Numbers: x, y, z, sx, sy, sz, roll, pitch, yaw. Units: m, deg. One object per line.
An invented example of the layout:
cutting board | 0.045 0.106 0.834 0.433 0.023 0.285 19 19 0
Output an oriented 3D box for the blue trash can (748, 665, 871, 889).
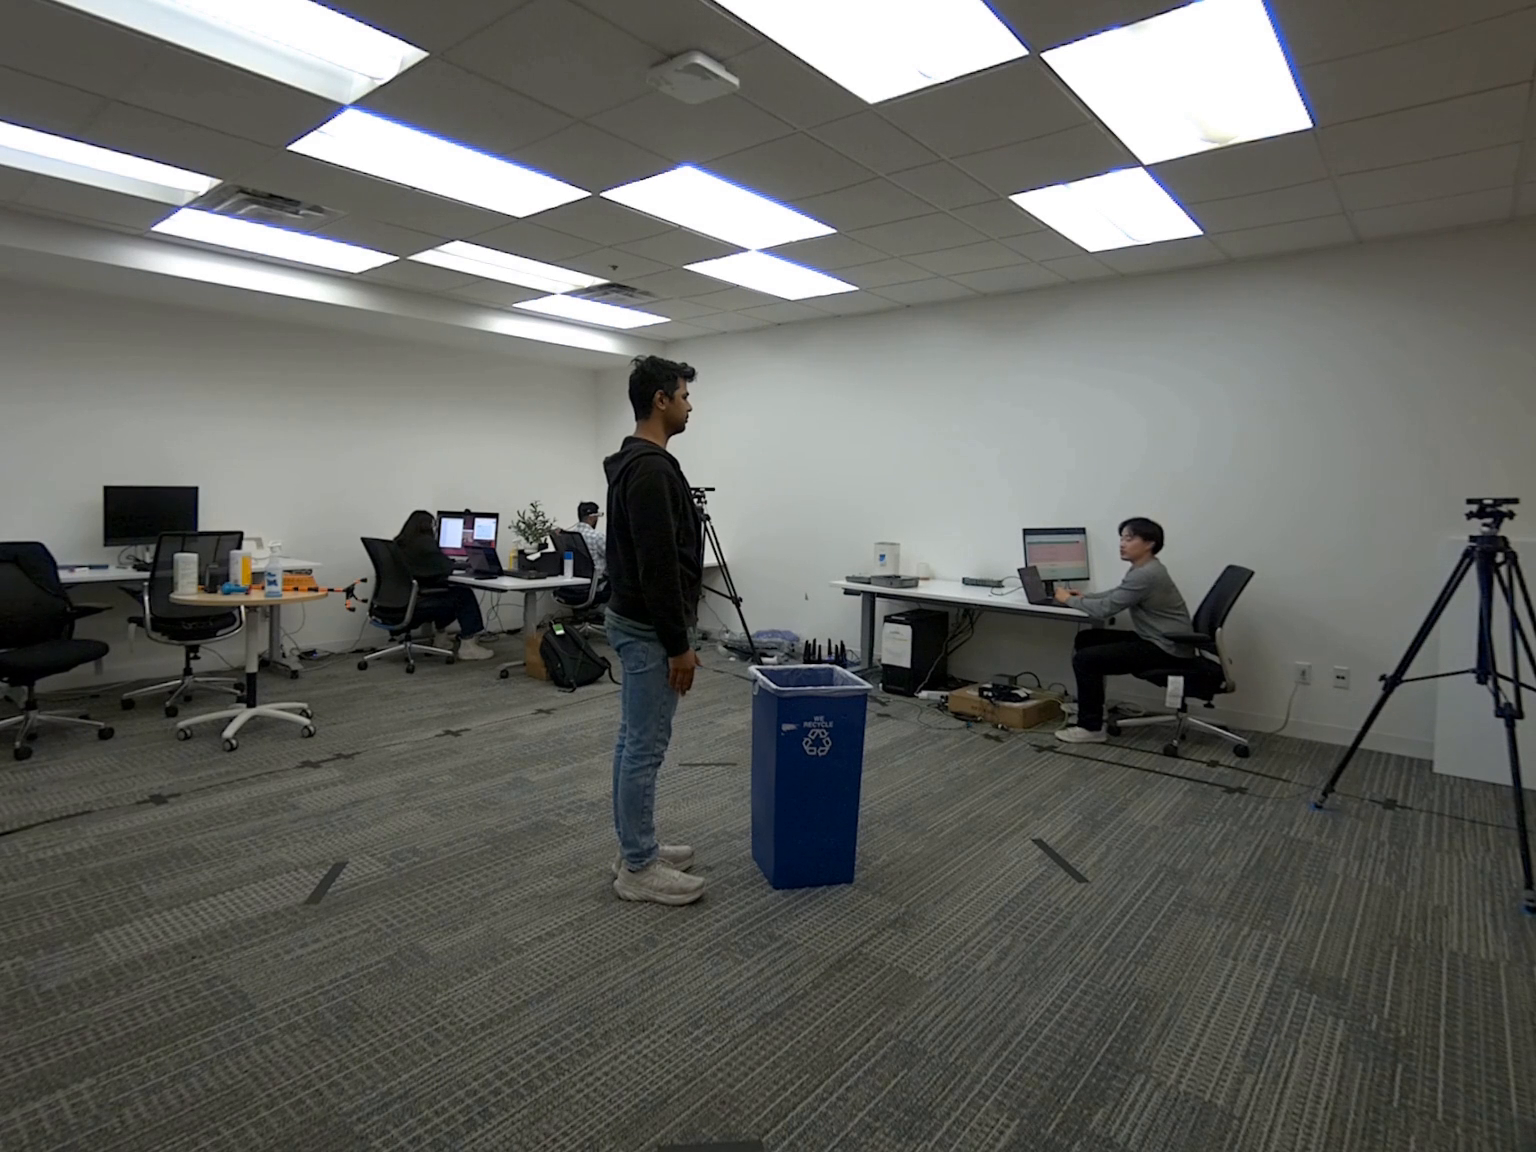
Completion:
blue trash can | 0.133 0.717 3.111 0.368 0.711 0.385 1 4 -16
